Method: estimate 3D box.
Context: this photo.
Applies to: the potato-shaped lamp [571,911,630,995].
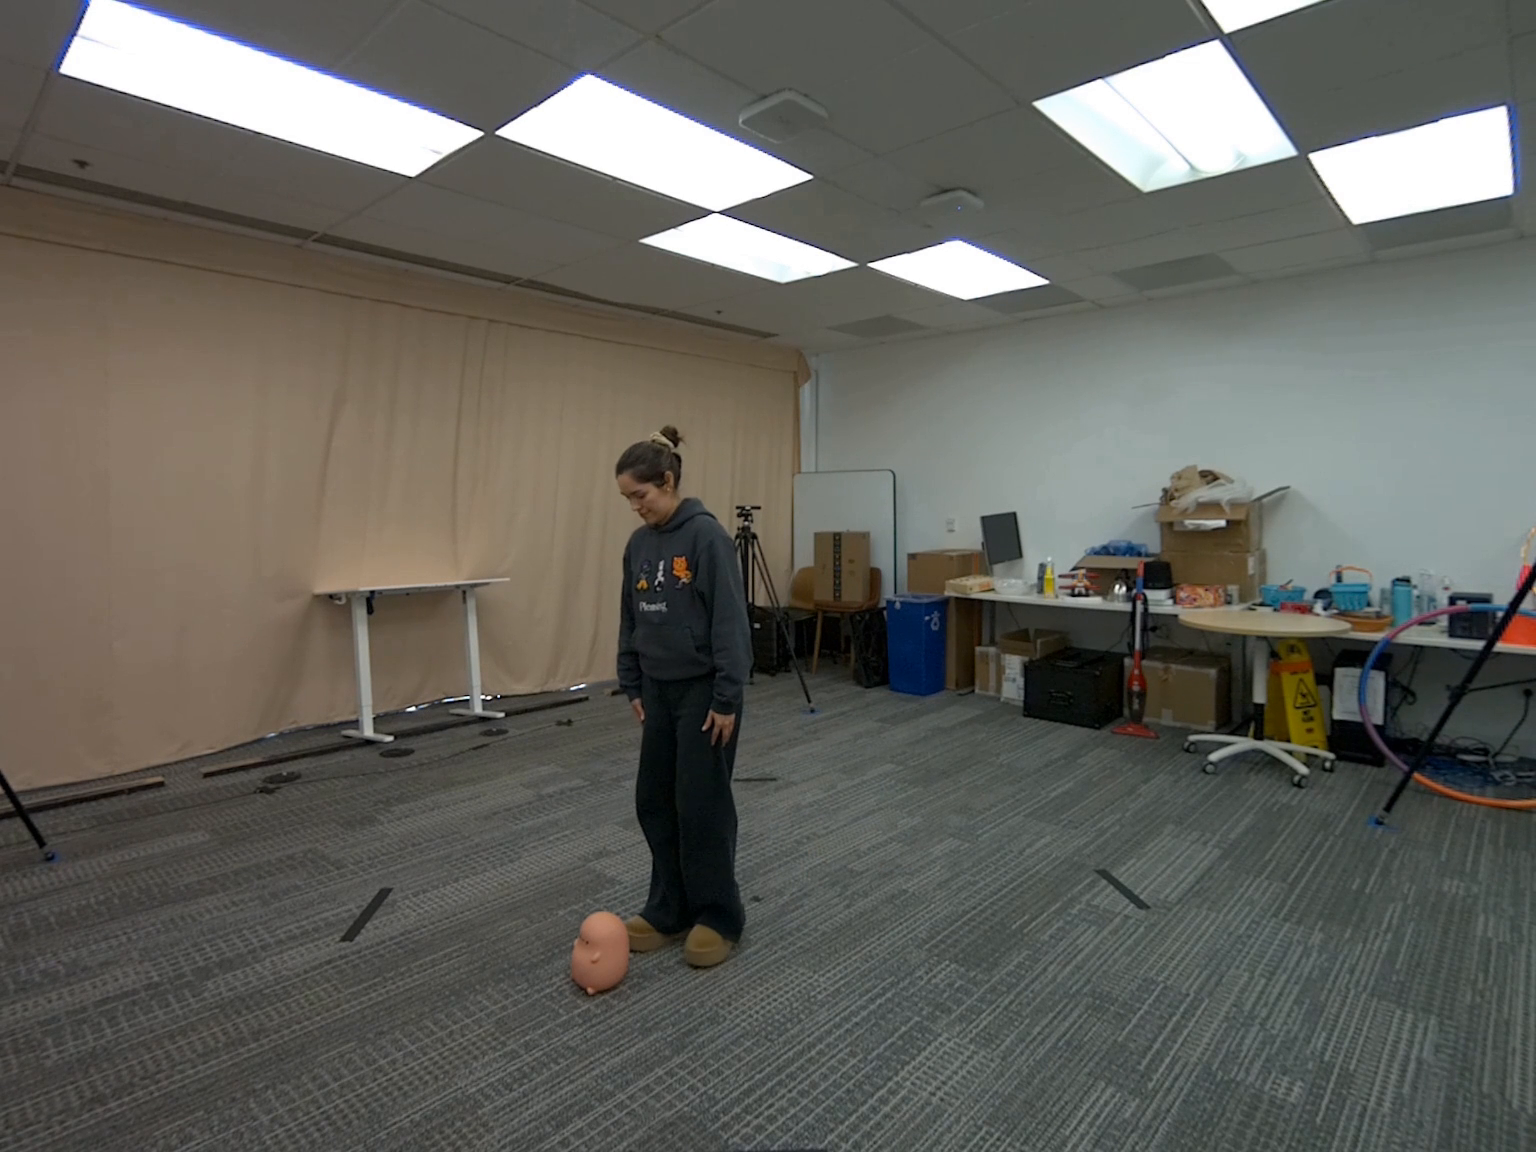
[{"bbox_3d":[-0.472,1.095,2.468,0.166,0.198,0.170,2,2,-38],"label":"potato-shaped lamp"}]
